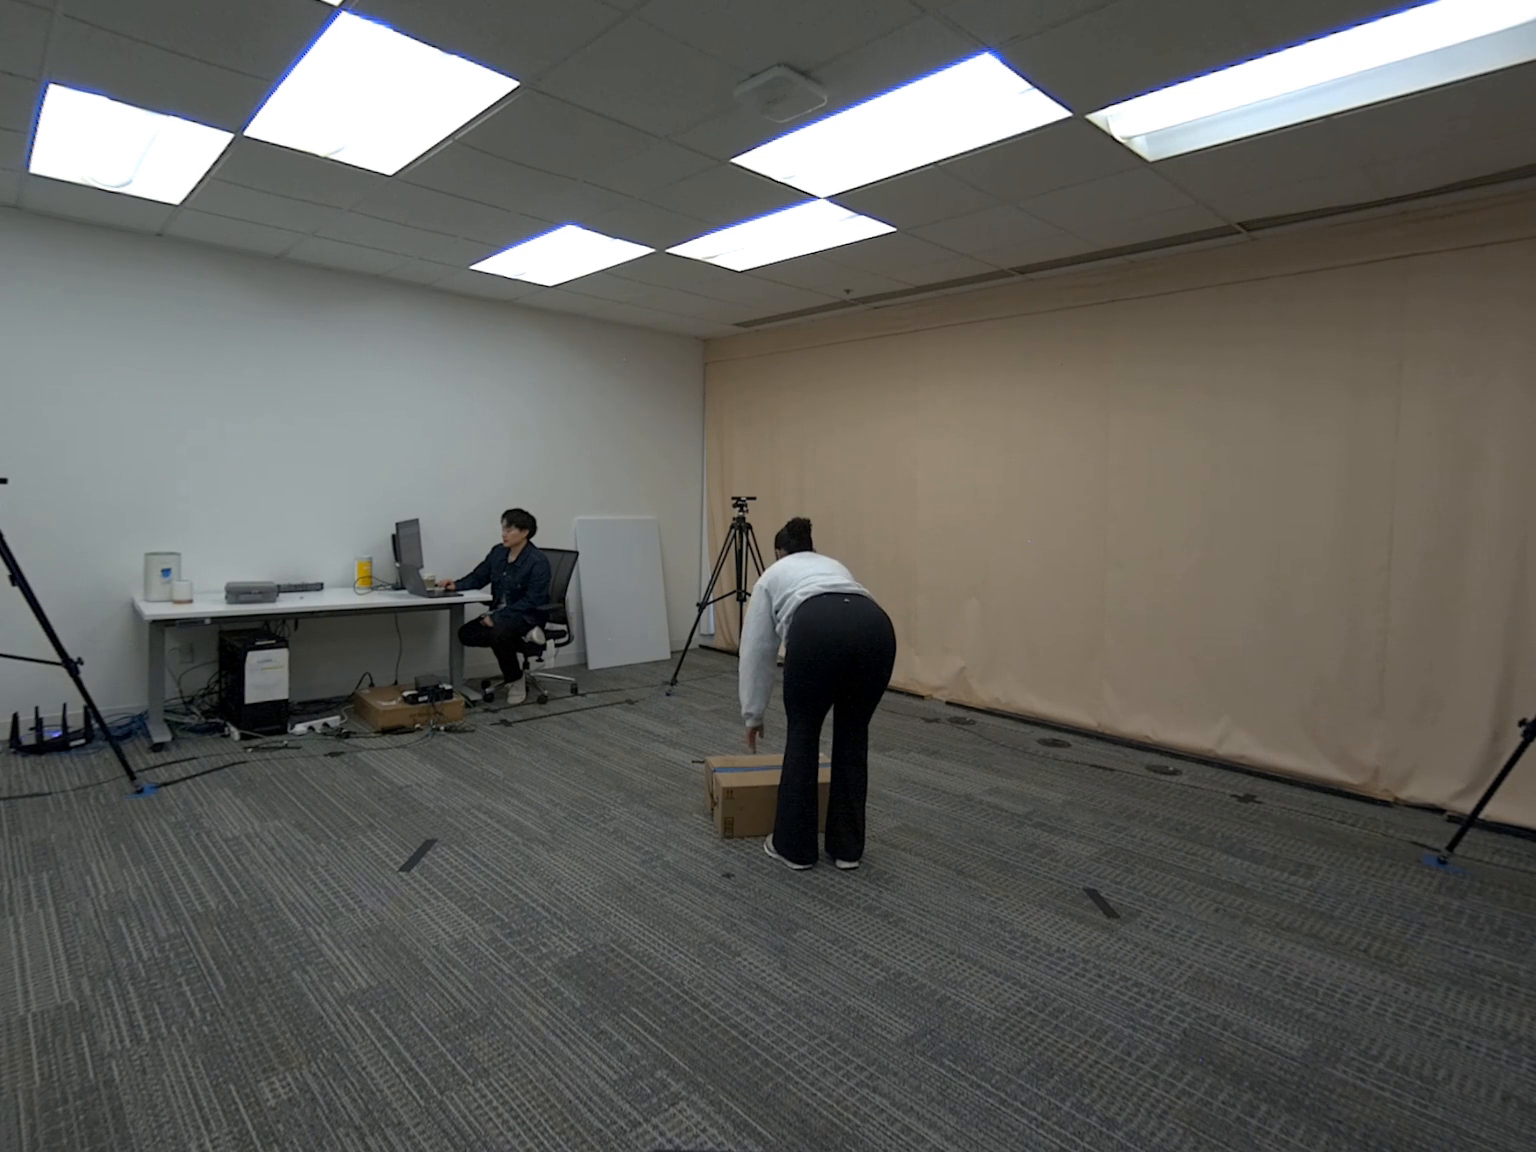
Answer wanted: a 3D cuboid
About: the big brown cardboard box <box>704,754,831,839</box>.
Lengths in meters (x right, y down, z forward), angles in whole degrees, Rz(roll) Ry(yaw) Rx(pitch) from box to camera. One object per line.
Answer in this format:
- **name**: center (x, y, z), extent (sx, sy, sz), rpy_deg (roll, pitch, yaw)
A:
- **big brown cardboard box**: center (0.027, 0.945, 3.695), extent (0.583, 0.232, 0.423), rpy_deg (0, 5, -13)
